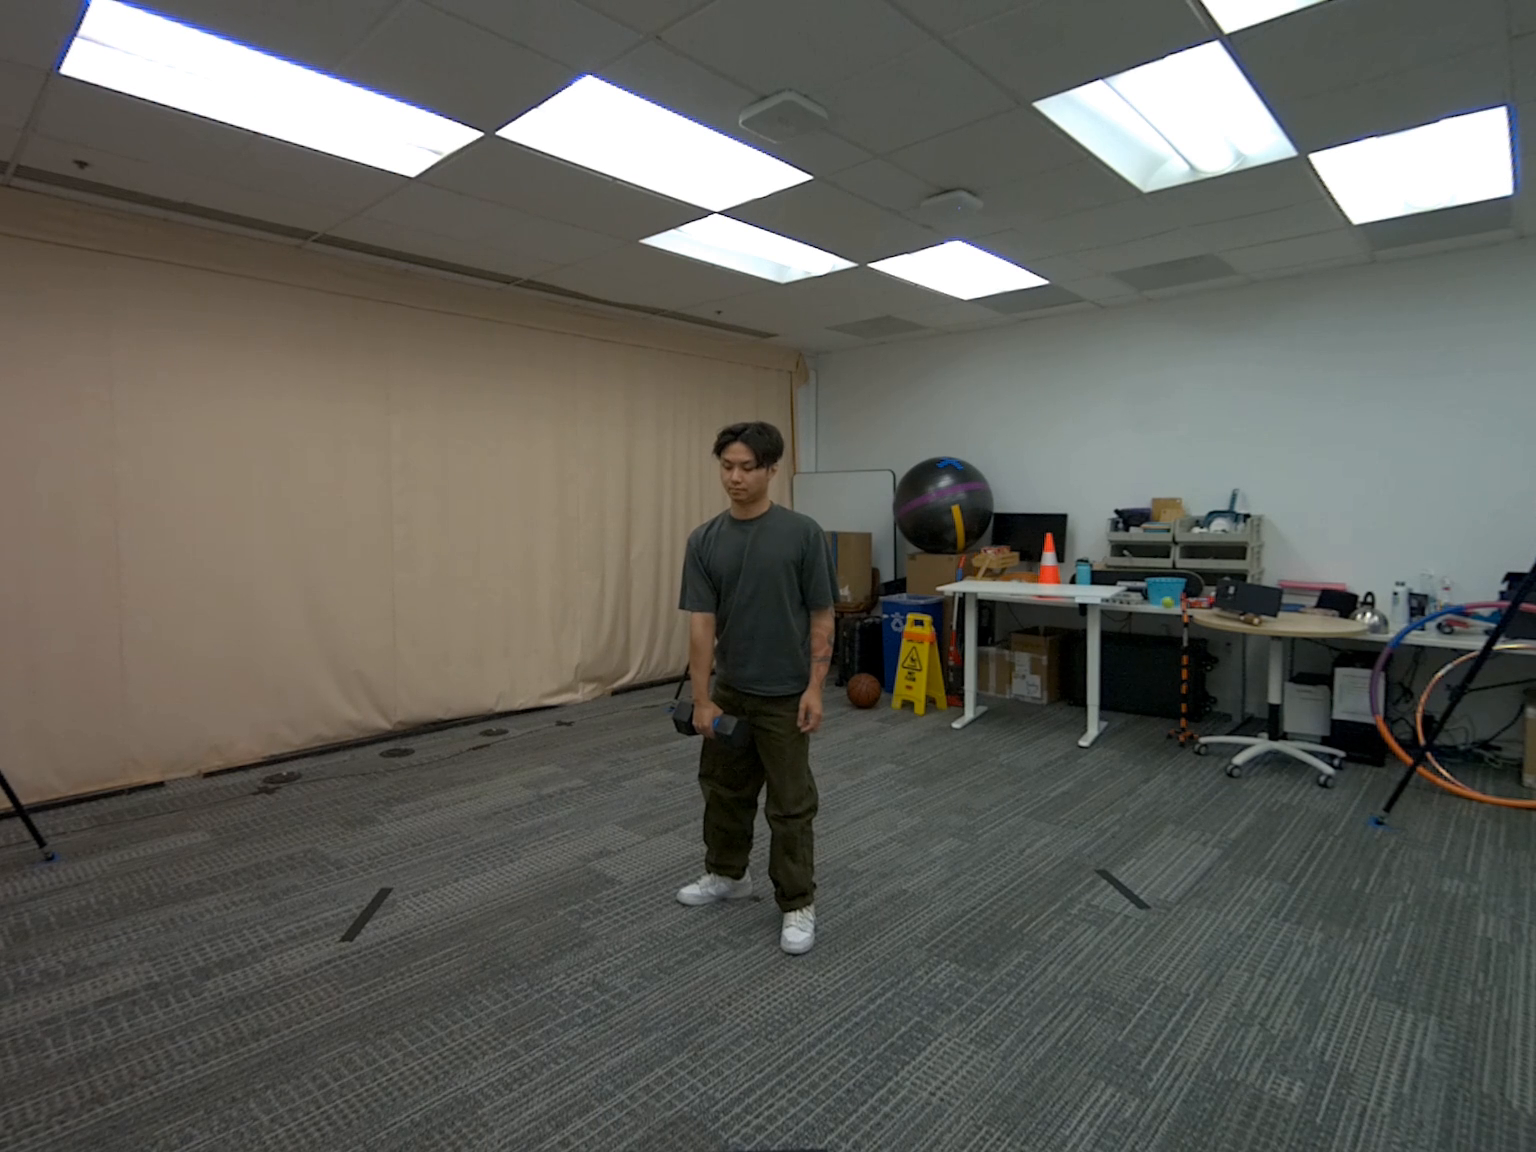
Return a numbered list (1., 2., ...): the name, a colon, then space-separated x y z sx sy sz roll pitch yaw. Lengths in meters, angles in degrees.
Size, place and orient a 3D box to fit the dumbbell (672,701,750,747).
1. dumbbell: -0.180 0.488 2.761 0.303 0.121 0.107 5 31 47
